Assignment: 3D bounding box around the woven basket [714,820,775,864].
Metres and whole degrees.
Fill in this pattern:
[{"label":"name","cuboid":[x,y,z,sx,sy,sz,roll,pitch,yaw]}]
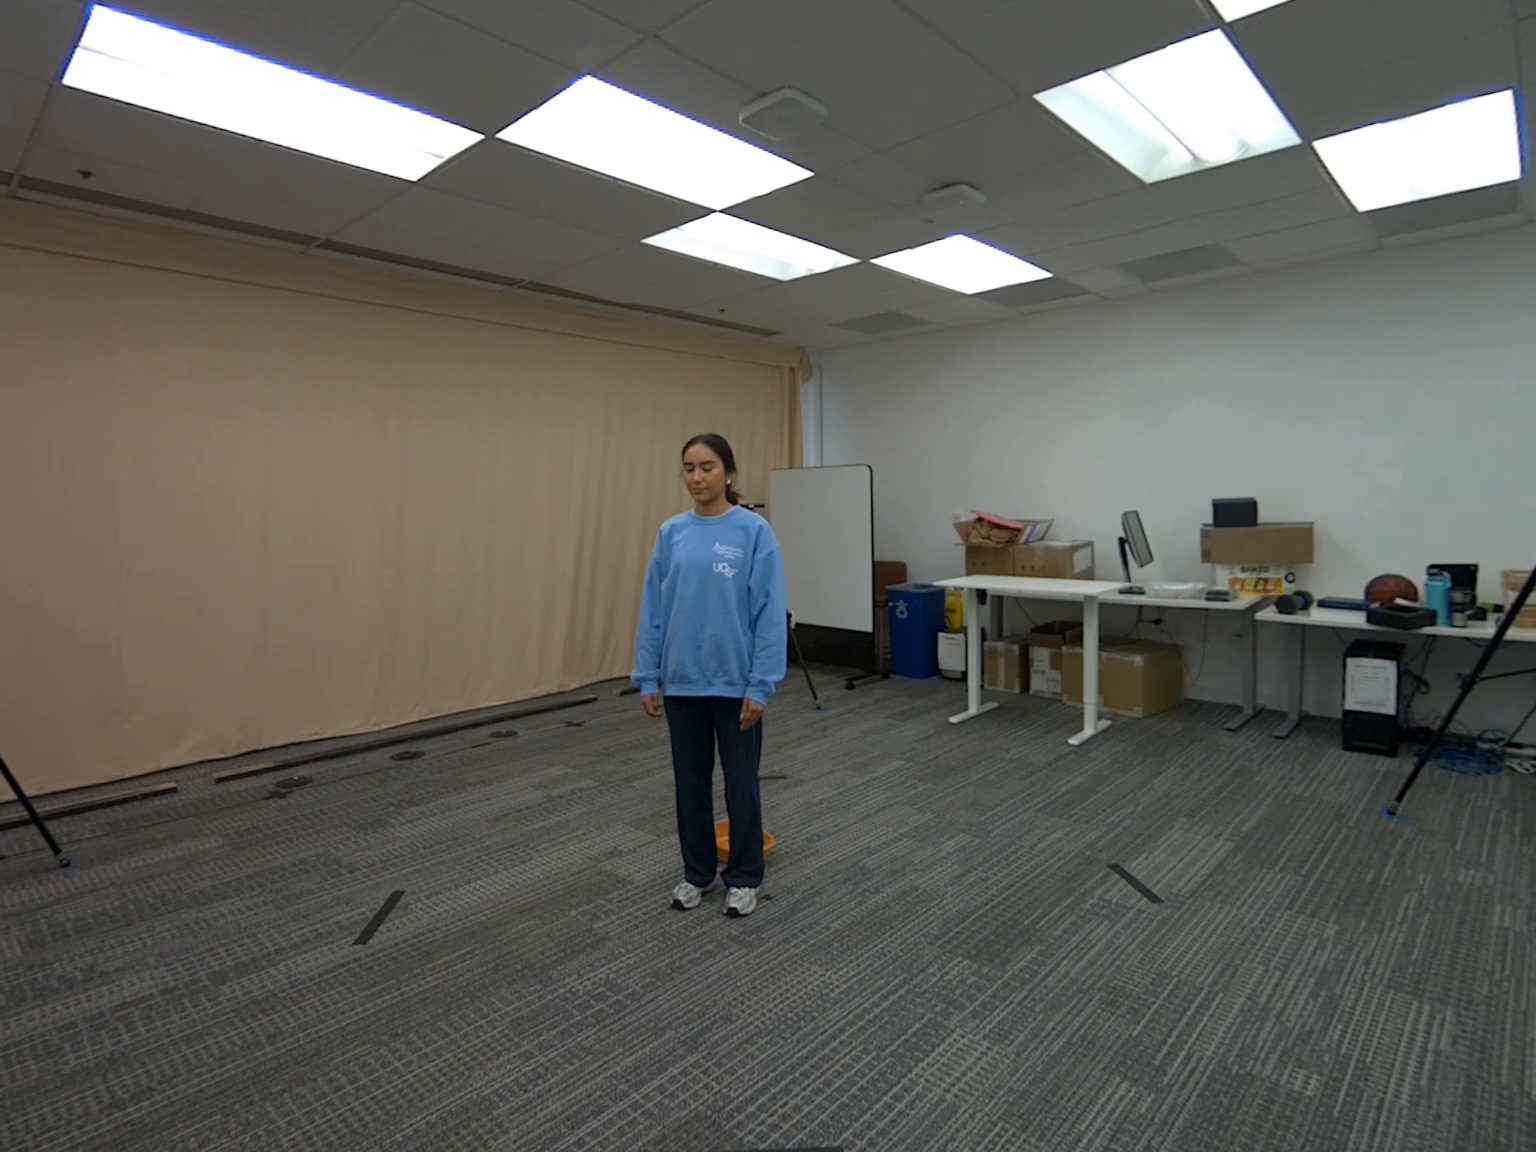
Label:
[{"label":"woven basket","cuboid":[-0.123,1.071,3.366,0.246,0.073,0.360,-3,5,-27]}]
